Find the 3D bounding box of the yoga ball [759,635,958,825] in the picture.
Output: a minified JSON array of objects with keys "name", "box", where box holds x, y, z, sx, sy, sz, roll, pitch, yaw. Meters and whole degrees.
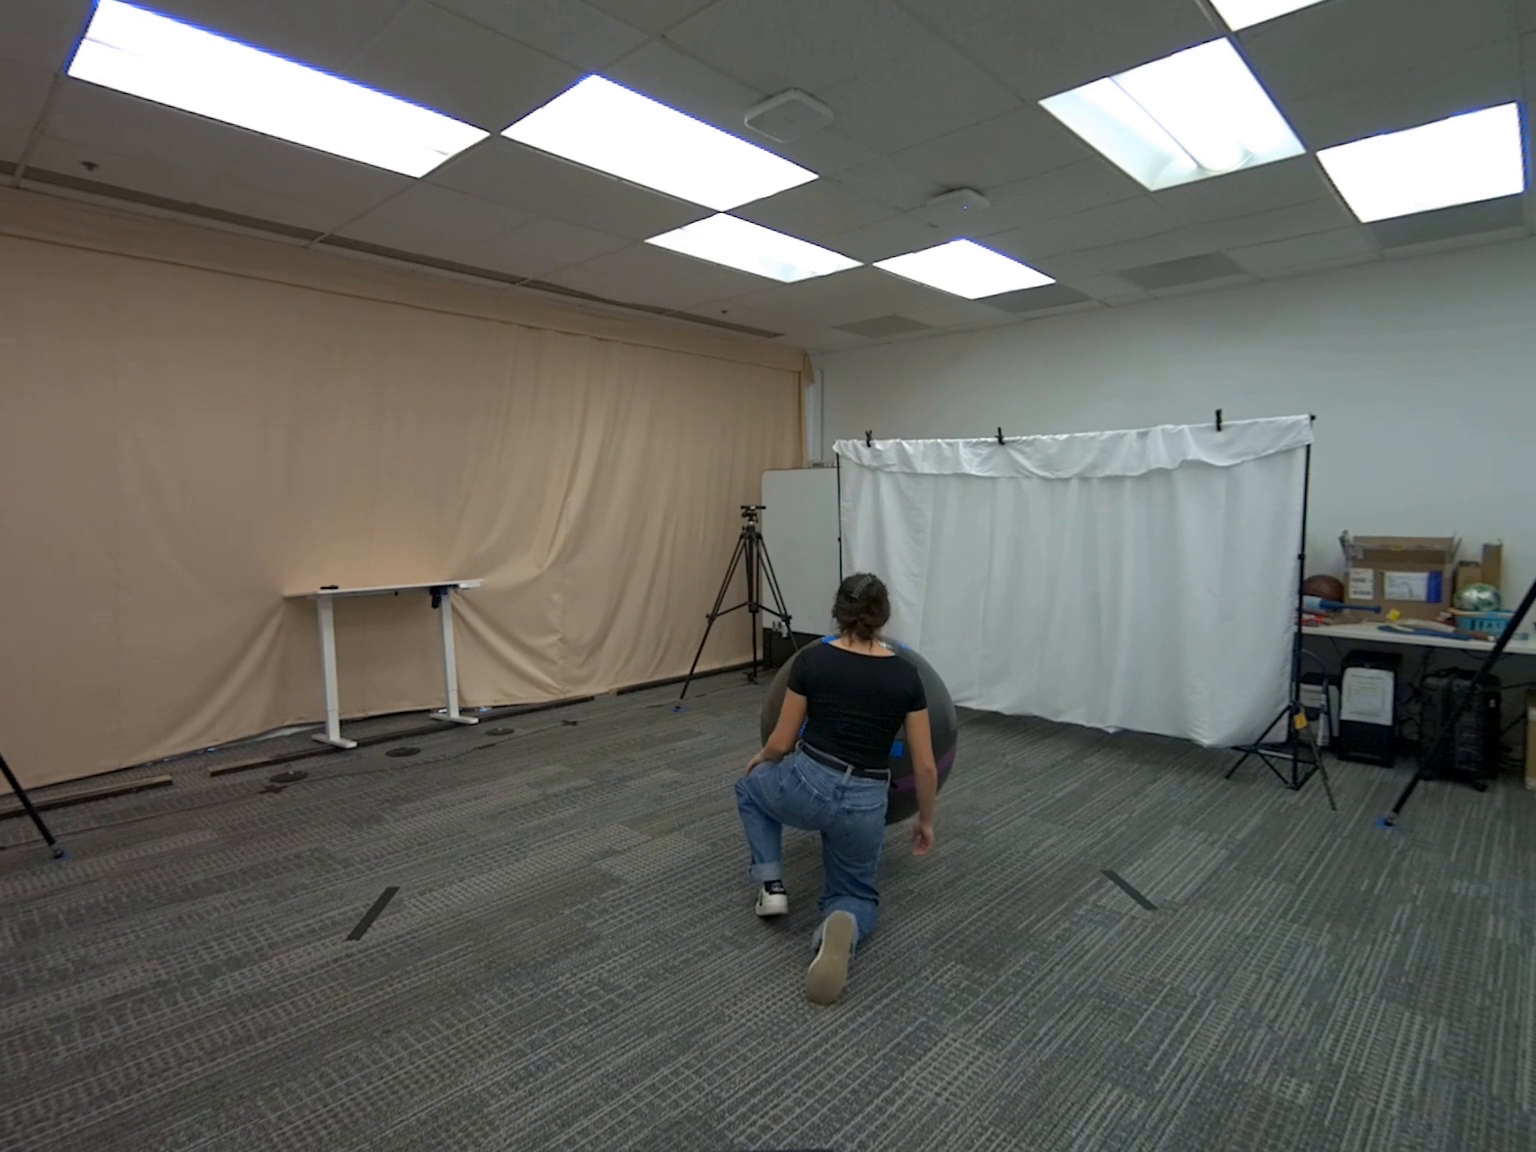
[{"name":"yoga ball","box":[0.363,0.603,3.318,0.757,0.756,0.761,0,4,-2]}]
